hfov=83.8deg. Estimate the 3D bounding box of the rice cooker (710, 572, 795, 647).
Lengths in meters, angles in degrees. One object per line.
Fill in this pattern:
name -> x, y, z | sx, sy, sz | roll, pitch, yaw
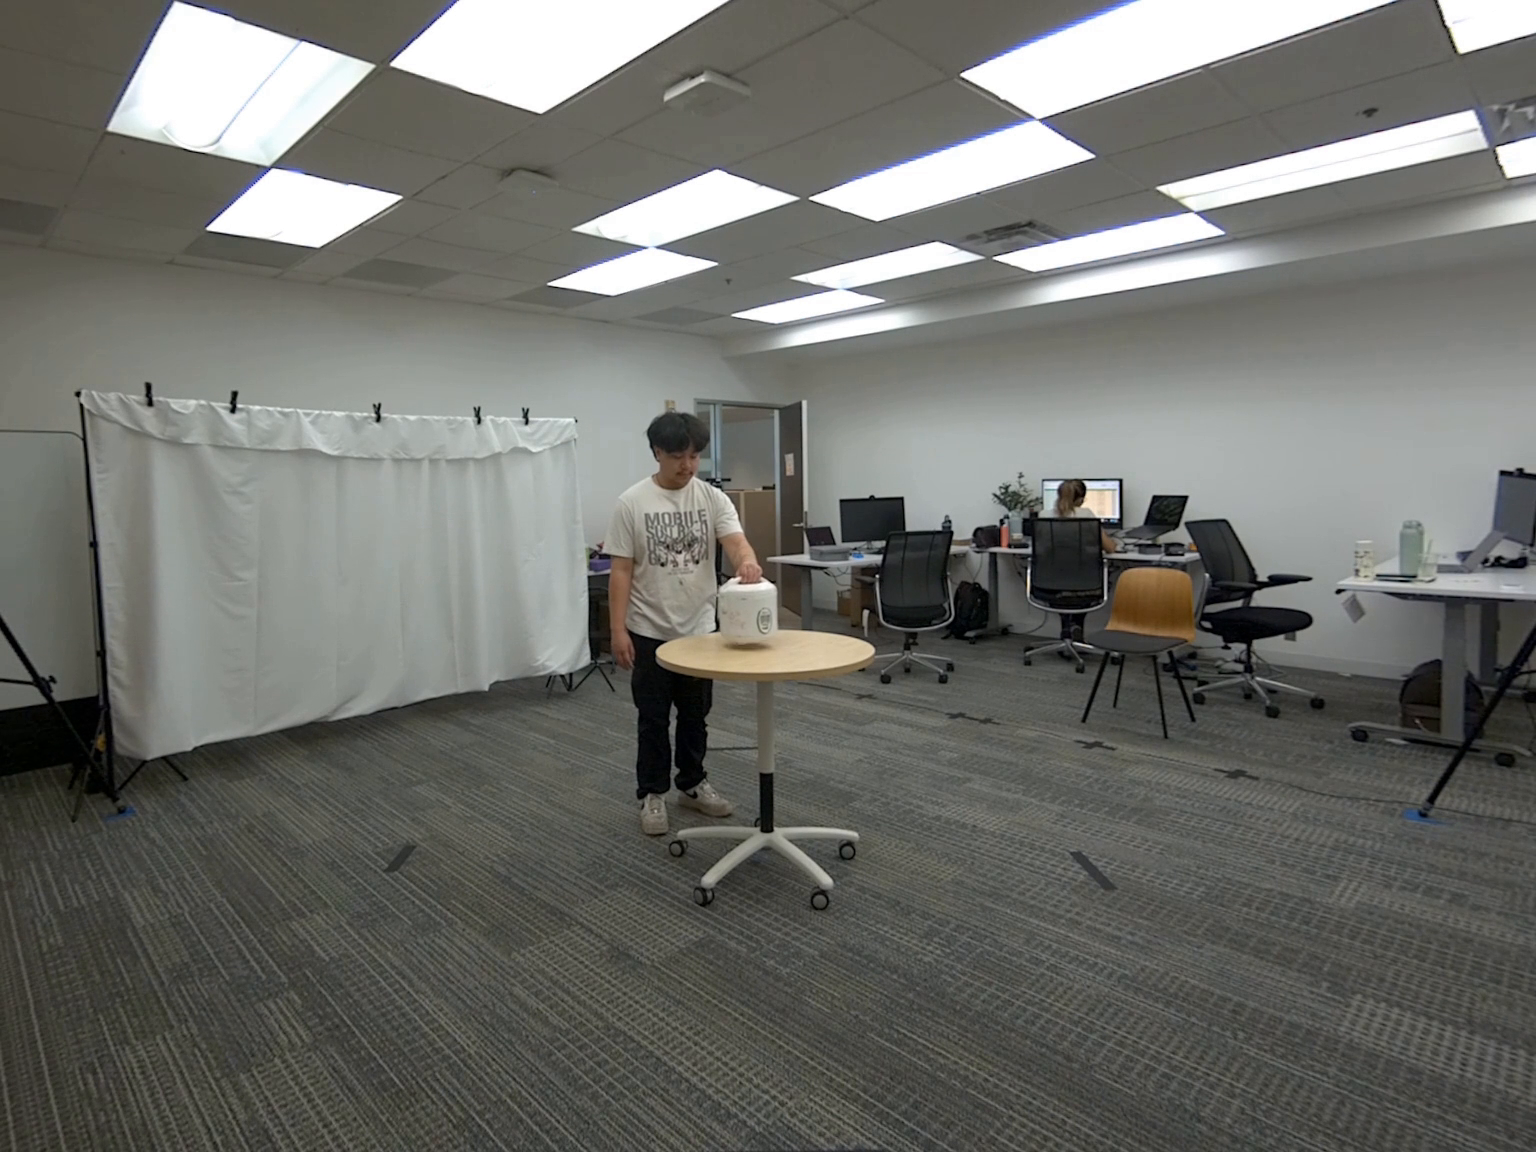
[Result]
rice cooker -> -0.065, 0.110, 3.051 | 0.215, 0.233, 0.222 | -4, 2, -29
